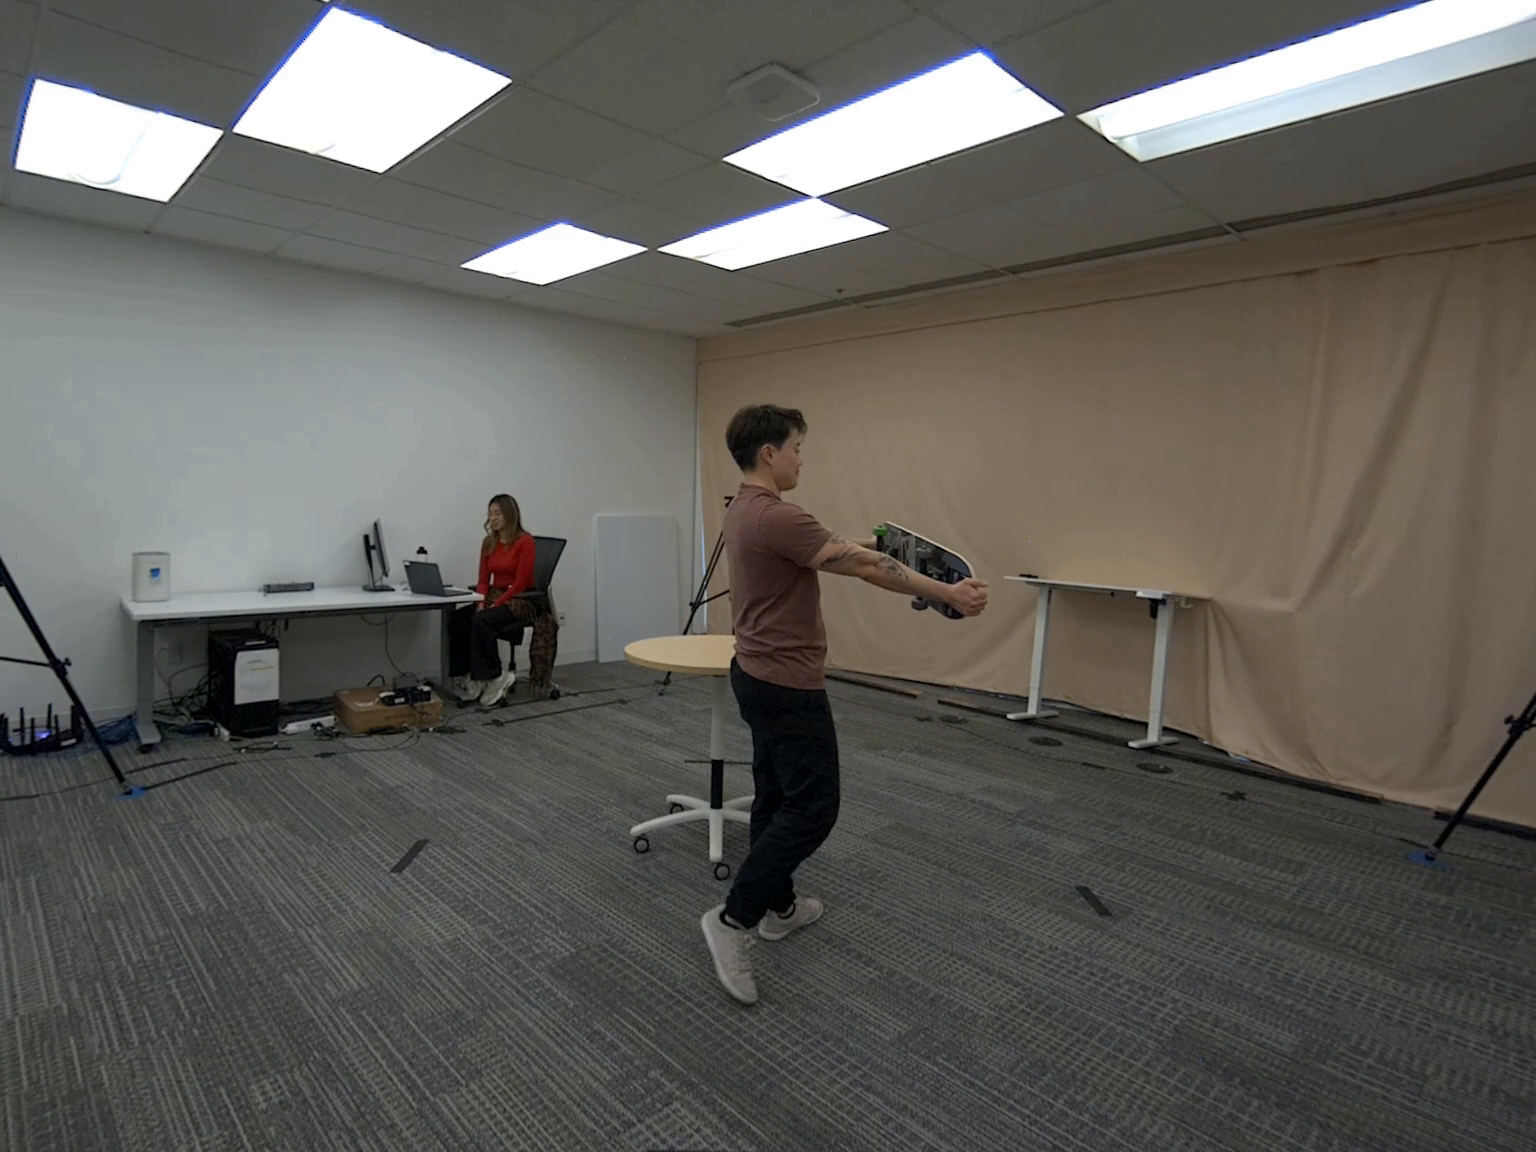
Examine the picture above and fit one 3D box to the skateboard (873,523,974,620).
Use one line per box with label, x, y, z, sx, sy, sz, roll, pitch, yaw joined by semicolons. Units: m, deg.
skateboard;0.432;-0.028;2.671;0.109;0.192;0.798;-2;13;-11
